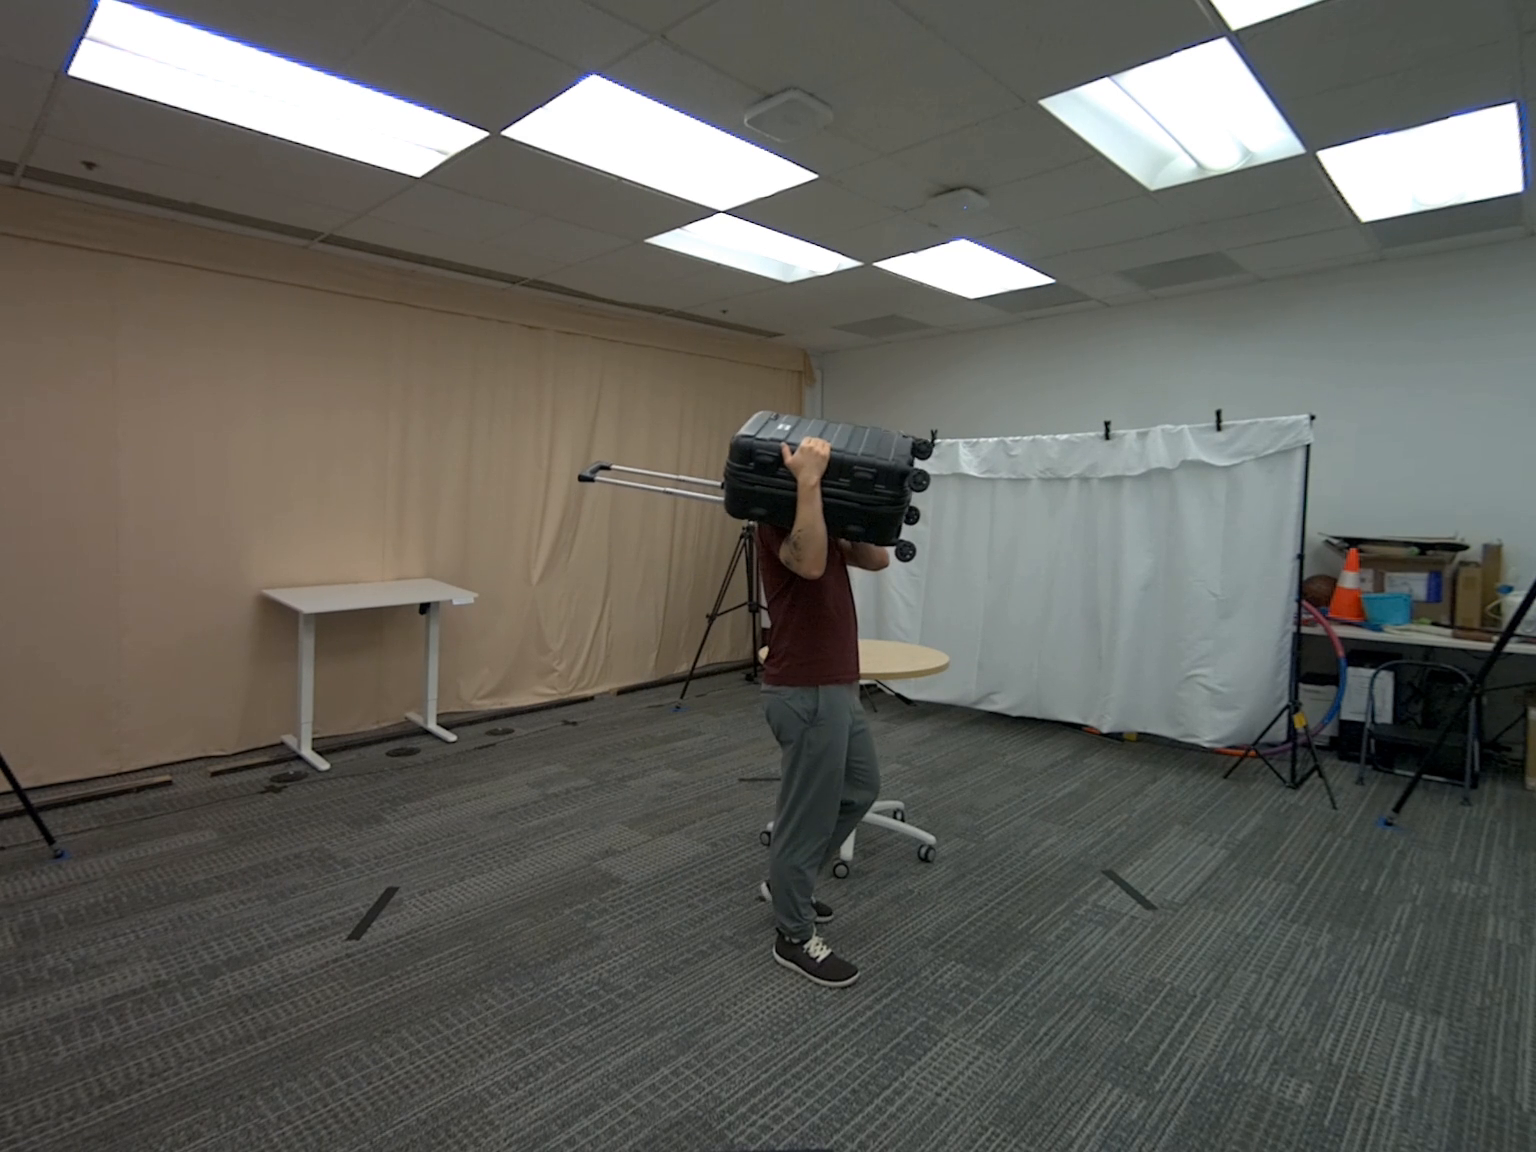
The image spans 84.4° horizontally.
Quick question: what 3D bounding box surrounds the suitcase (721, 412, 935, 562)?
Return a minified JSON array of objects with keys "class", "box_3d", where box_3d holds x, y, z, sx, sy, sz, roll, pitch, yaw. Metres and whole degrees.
[{"class":"suitcase","box_3d":[-0.030,-0.325,2.383,0.991,0.254,0.383,12,25,10]}]
